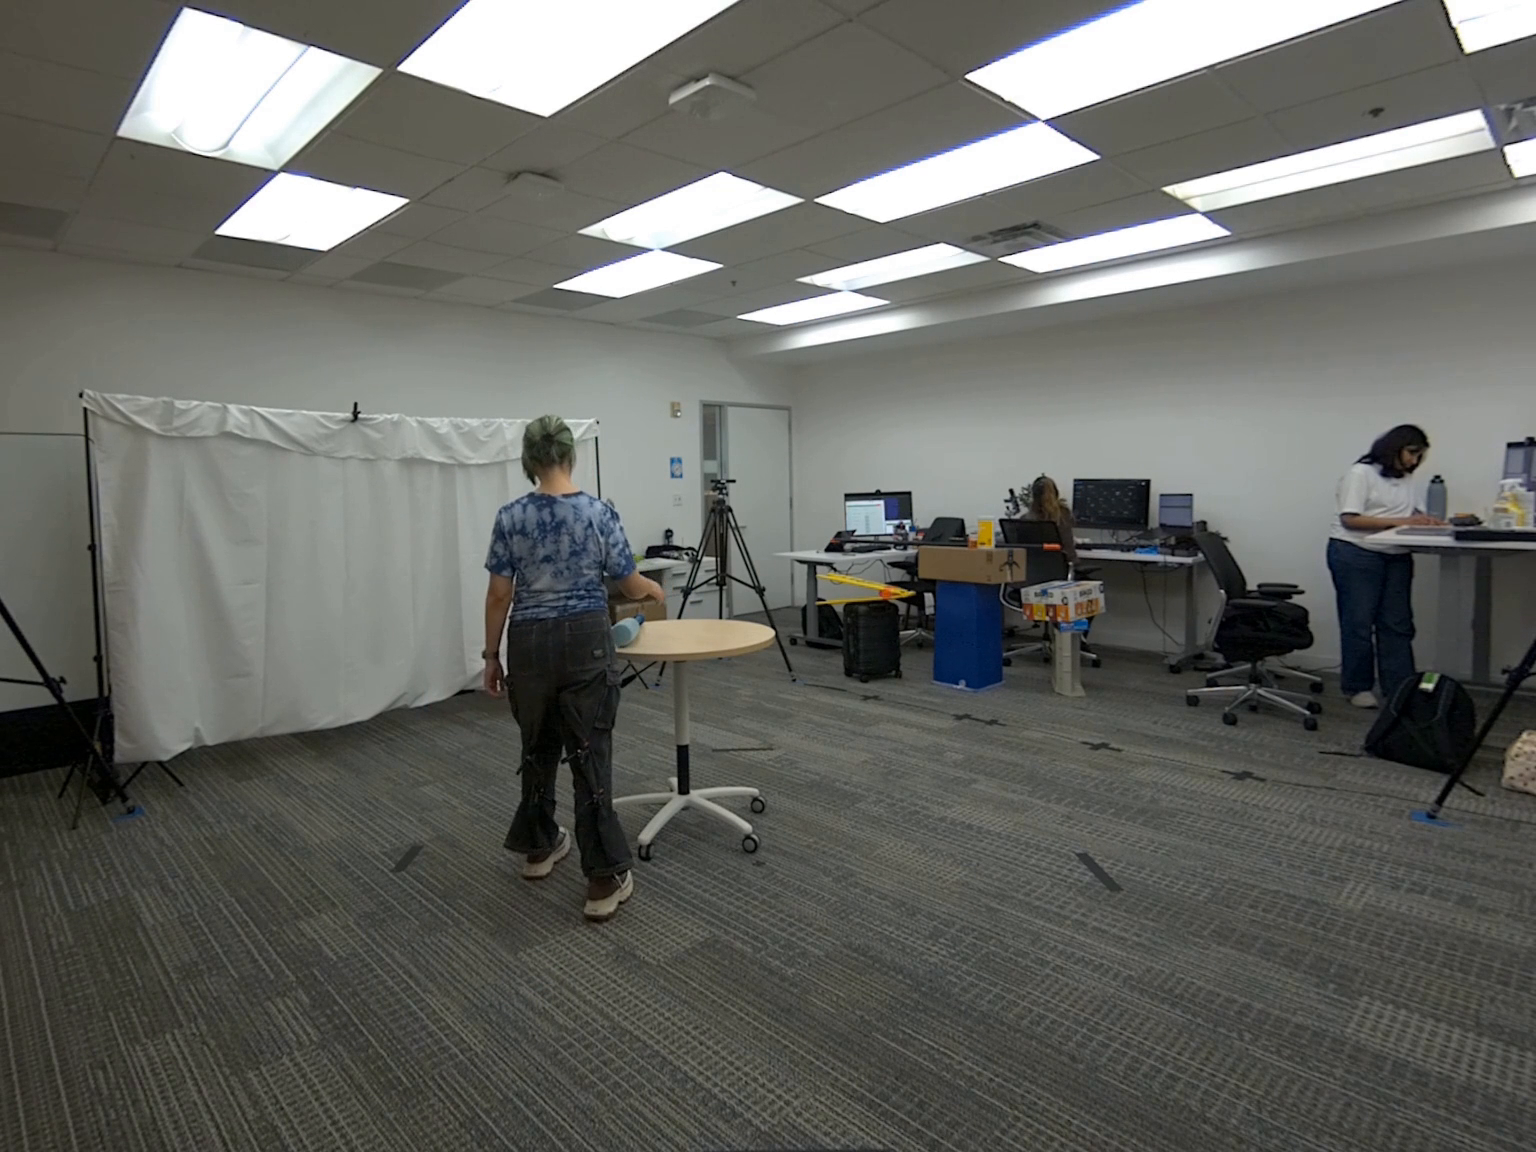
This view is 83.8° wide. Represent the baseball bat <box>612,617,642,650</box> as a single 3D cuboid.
[{"bbox_3d":[-0.551,0.204,3.422,0.089,0.089,0.545,-1,4,-3],"label":"baseball bat"}]
